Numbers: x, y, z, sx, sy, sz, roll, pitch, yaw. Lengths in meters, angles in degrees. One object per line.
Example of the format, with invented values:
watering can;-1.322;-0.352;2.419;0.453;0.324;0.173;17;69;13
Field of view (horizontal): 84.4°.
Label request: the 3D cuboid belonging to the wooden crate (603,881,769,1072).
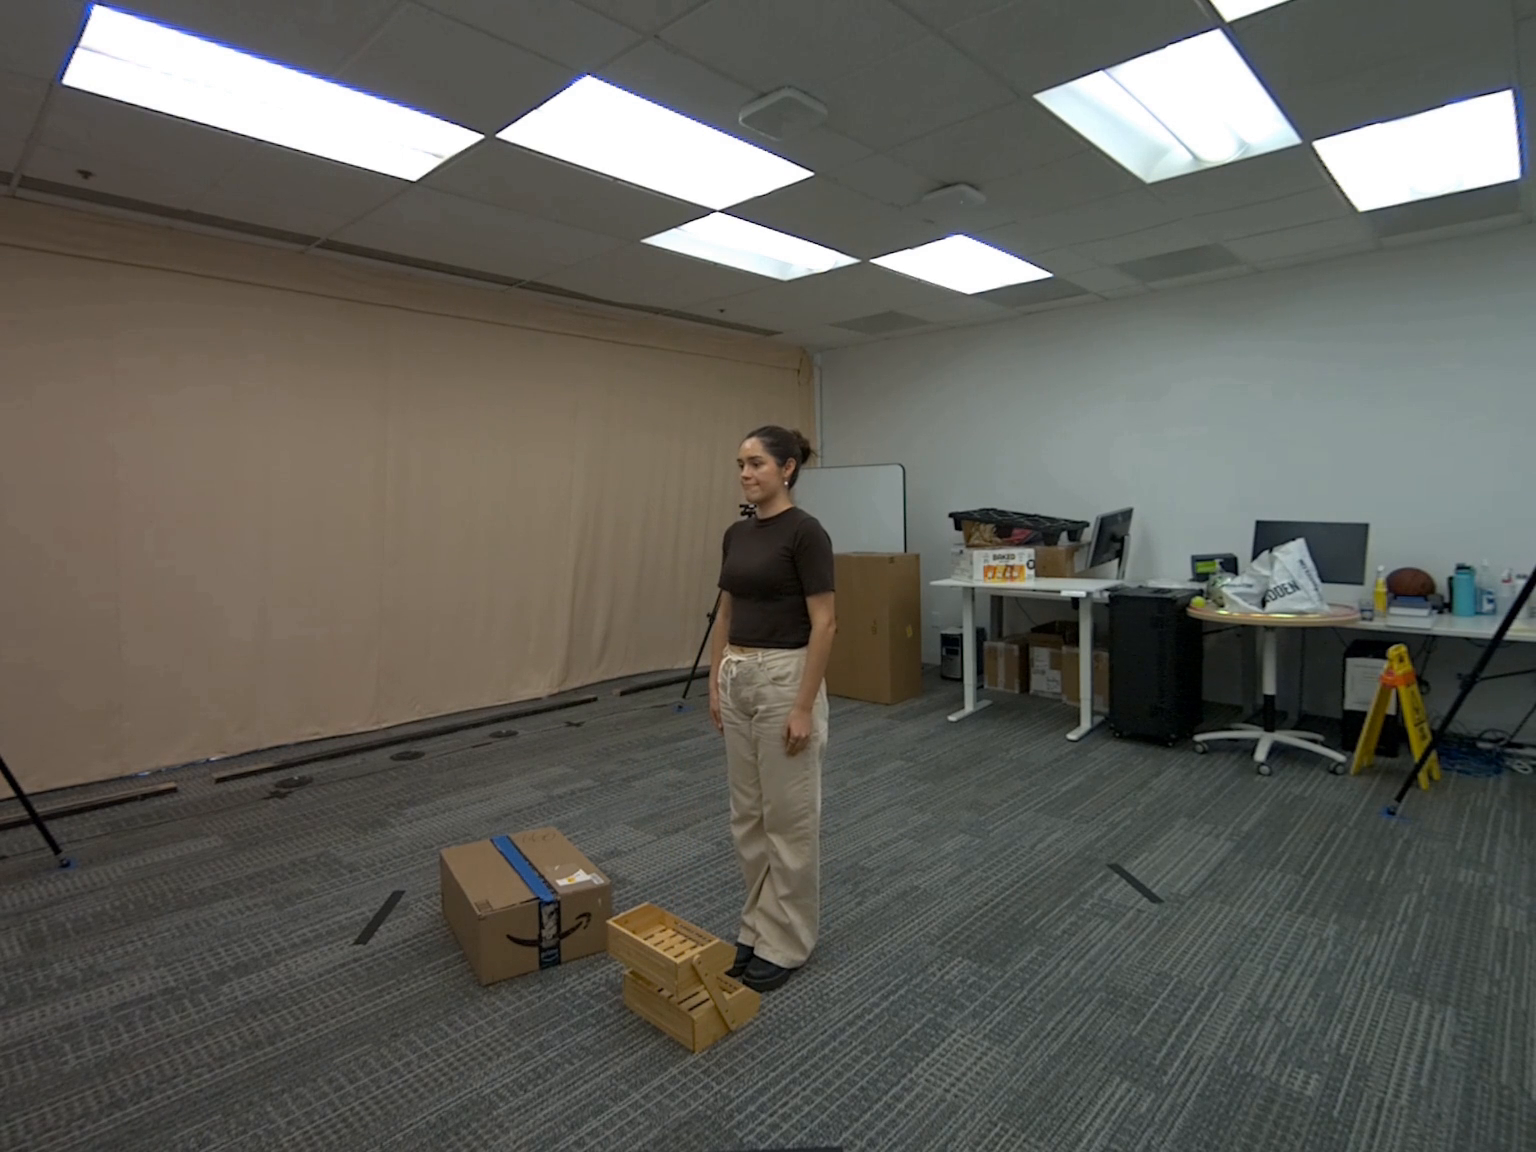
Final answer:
wooden crate;-0.225;1.065;2.306;0.335;0.272;0.293;4;7;44
